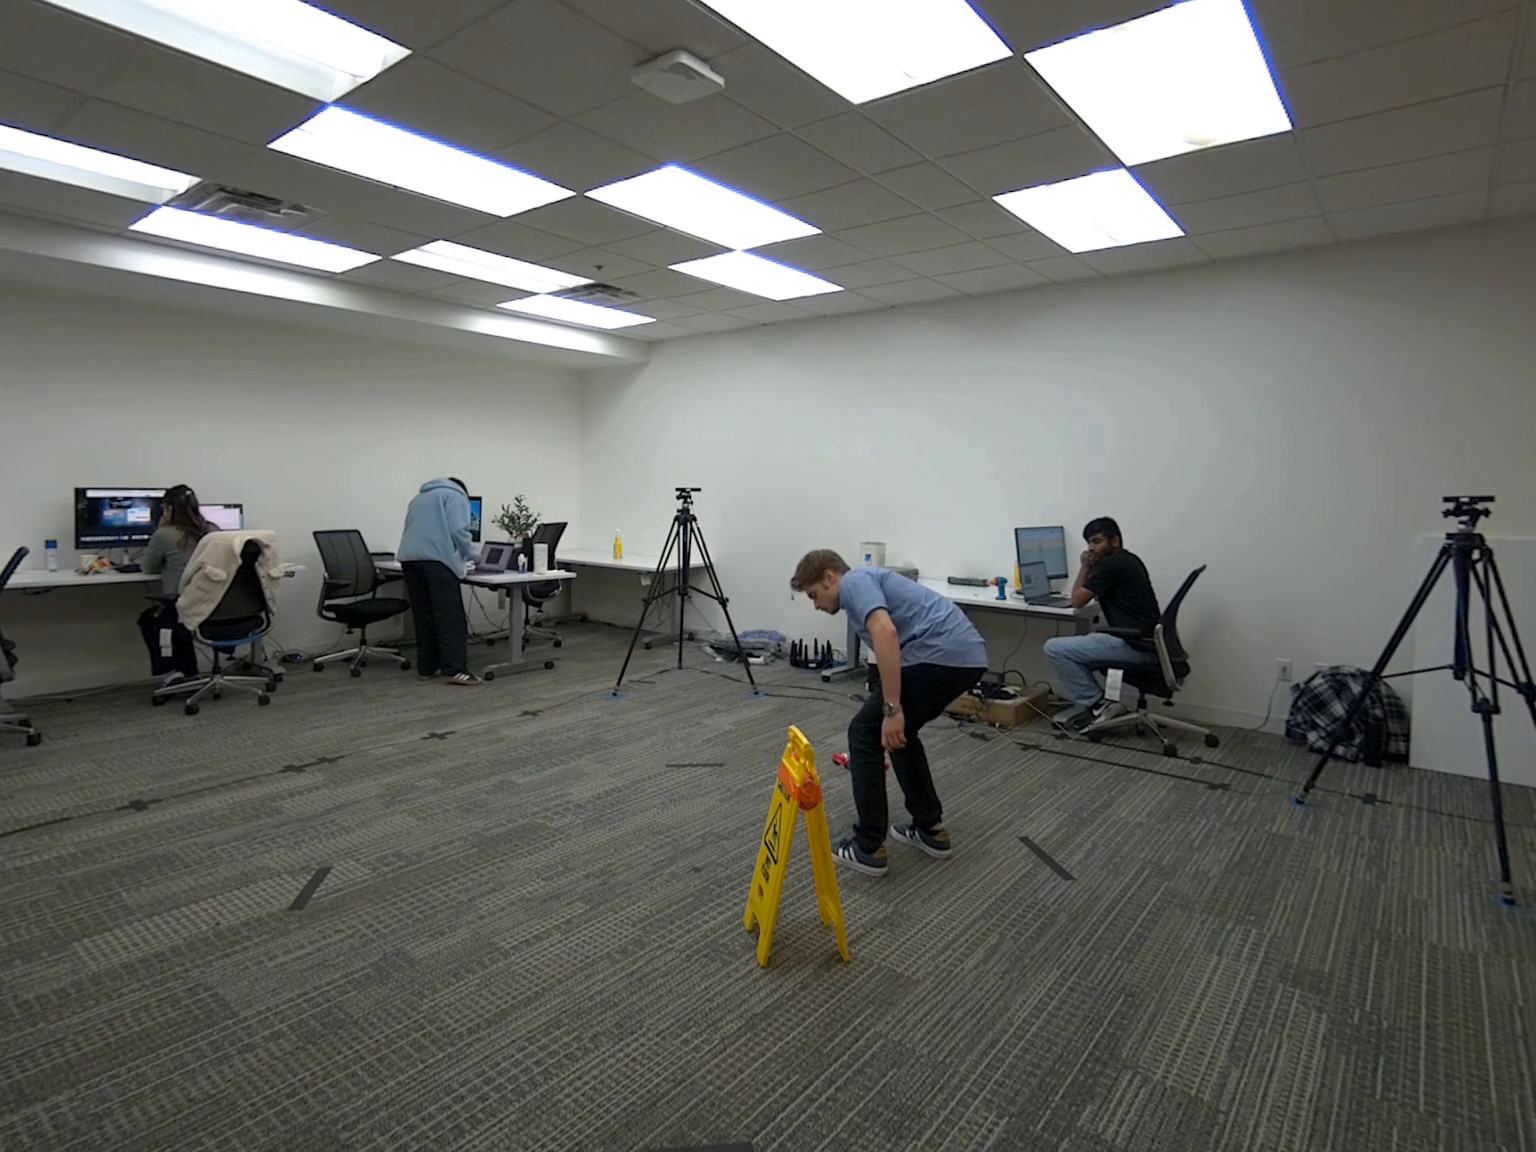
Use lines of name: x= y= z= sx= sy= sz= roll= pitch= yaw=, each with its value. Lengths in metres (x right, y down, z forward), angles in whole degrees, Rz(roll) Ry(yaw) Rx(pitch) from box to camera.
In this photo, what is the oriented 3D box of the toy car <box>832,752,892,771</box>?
toy car: x=0.405 y=0.786 z=3.632 sx=0.248 sy=0.083 sz=0.133 roll=5 pitch=-1 yaw=-23
